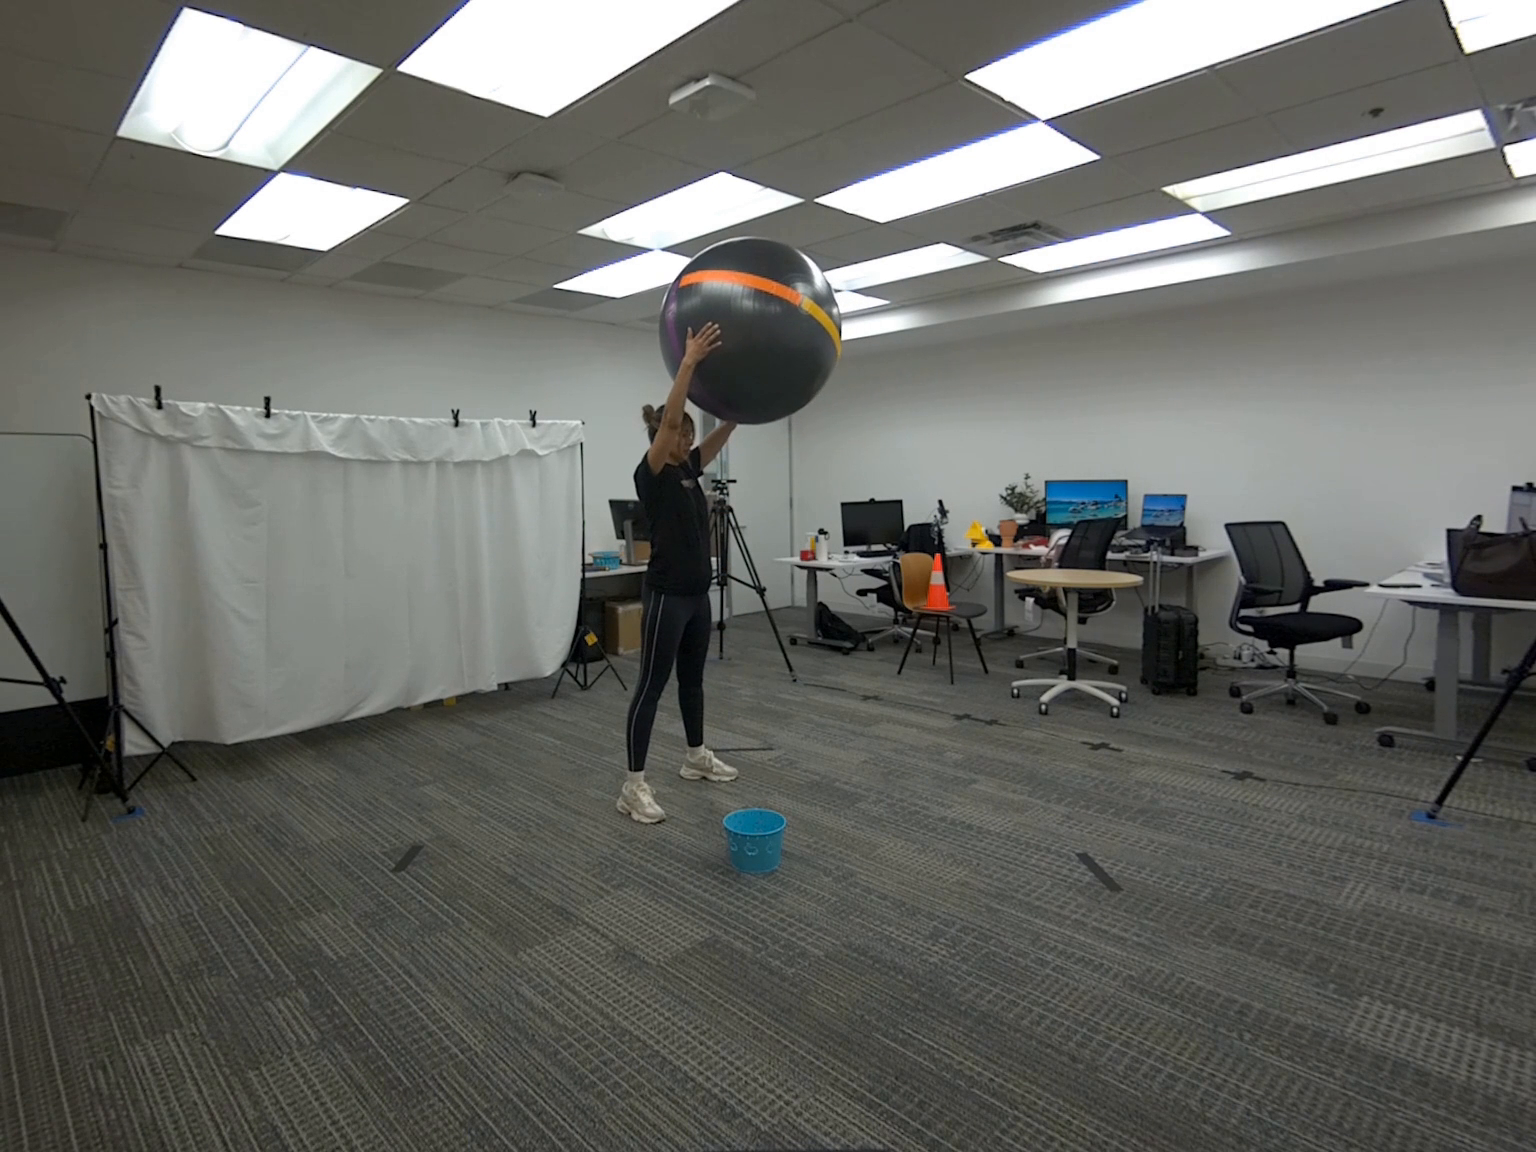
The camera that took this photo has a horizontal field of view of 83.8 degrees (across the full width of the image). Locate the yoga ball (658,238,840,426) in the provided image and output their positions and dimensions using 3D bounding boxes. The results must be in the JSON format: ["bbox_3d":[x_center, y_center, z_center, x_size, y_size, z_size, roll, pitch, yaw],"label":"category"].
[{"bbox_3d":[-0.075,-1.001,3.548,0.757,0.755,0.762,-1,5,-2],"label":"yoga ball"}]
